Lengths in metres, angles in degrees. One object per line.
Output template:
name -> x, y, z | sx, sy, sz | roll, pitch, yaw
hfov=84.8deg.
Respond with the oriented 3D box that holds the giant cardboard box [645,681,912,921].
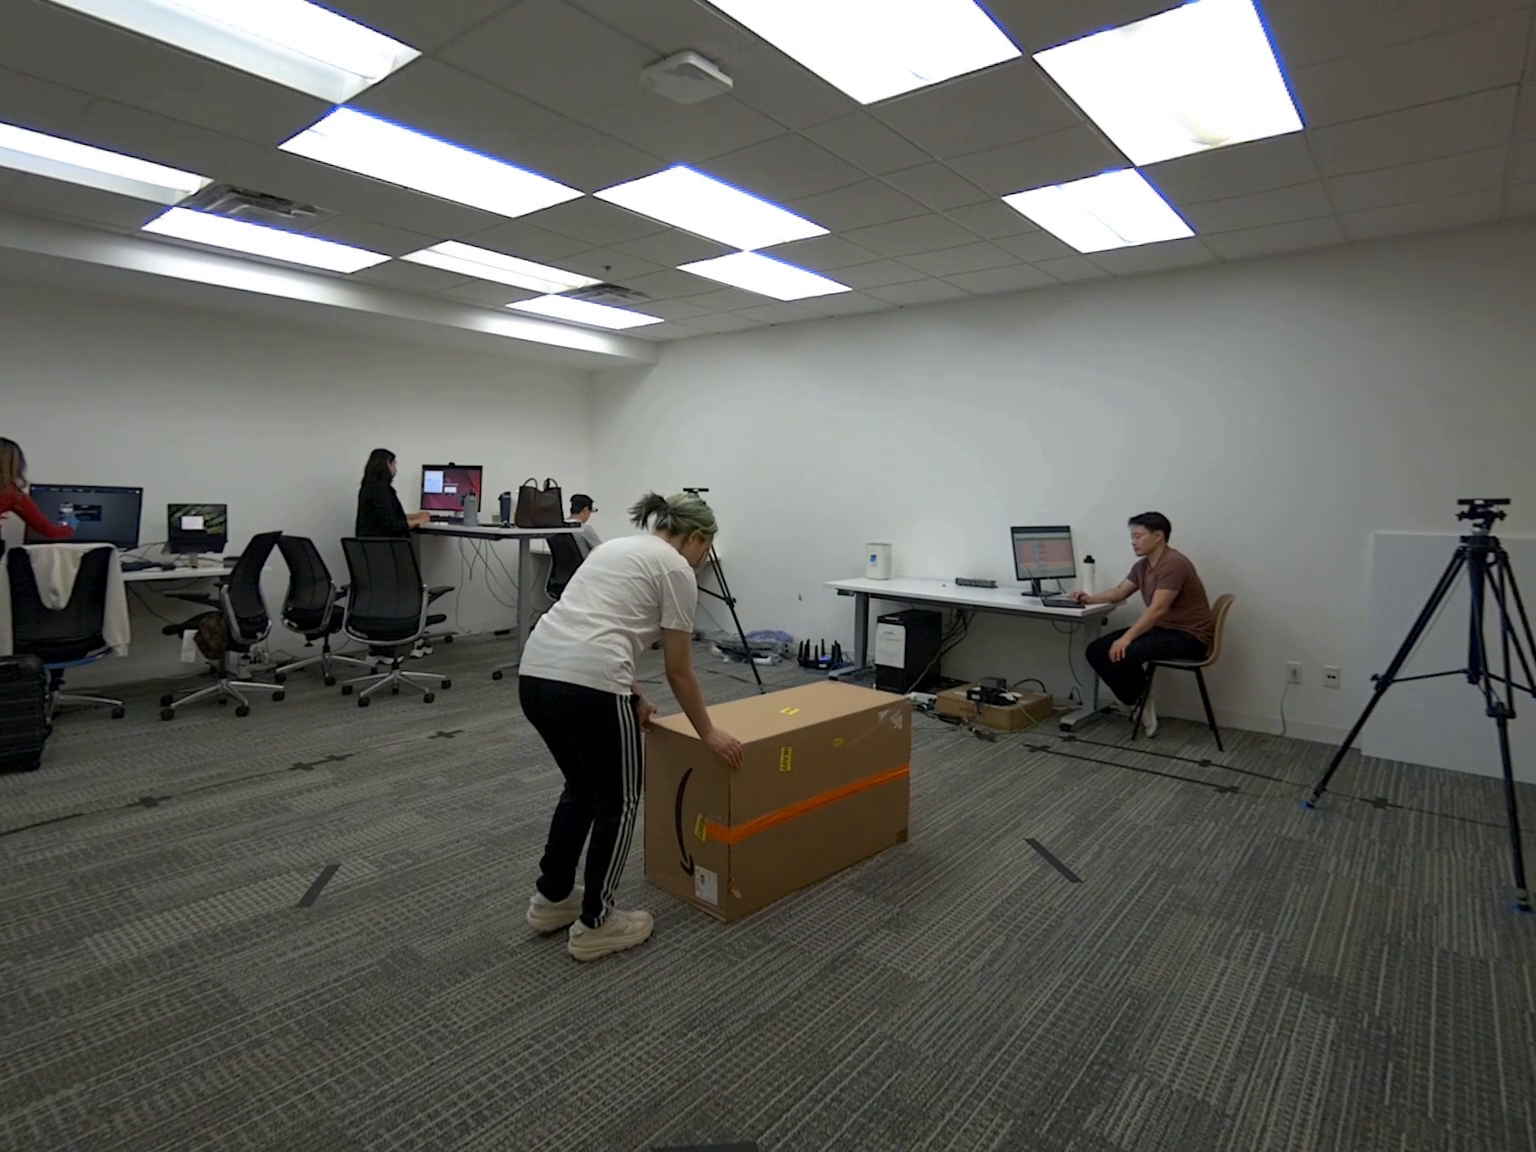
giant cardboard box -> 0.057, 0.779, 3.199 | 0.462, 0.581, 0.996 | 6, 7, 44
